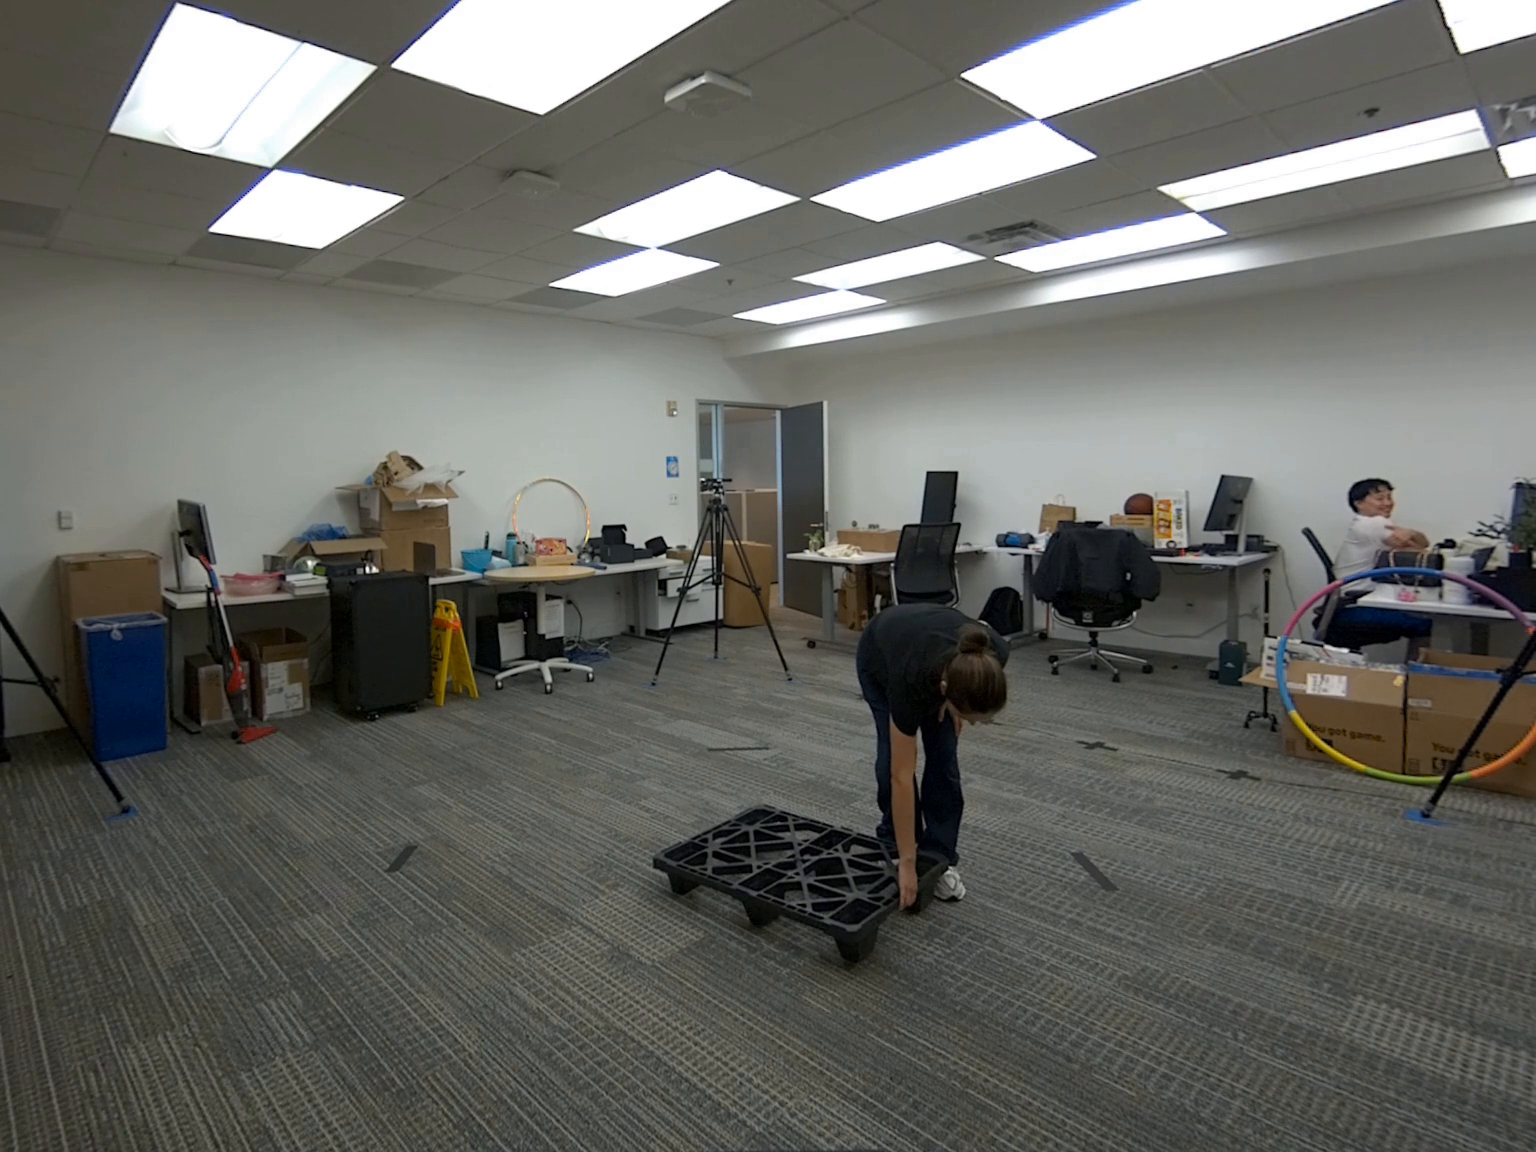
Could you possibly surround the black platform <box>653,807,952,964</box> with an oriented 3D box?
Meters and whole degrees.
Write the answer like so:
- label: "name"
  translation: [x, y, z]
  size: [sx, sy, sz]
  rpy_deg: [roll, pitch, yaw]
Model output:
- label: "black platform"
  translation: [0.104, 1.000, 2.861]
  size: [0.830, 0.143, 0.589]
  rpy_deg: [4, 7, 39]
